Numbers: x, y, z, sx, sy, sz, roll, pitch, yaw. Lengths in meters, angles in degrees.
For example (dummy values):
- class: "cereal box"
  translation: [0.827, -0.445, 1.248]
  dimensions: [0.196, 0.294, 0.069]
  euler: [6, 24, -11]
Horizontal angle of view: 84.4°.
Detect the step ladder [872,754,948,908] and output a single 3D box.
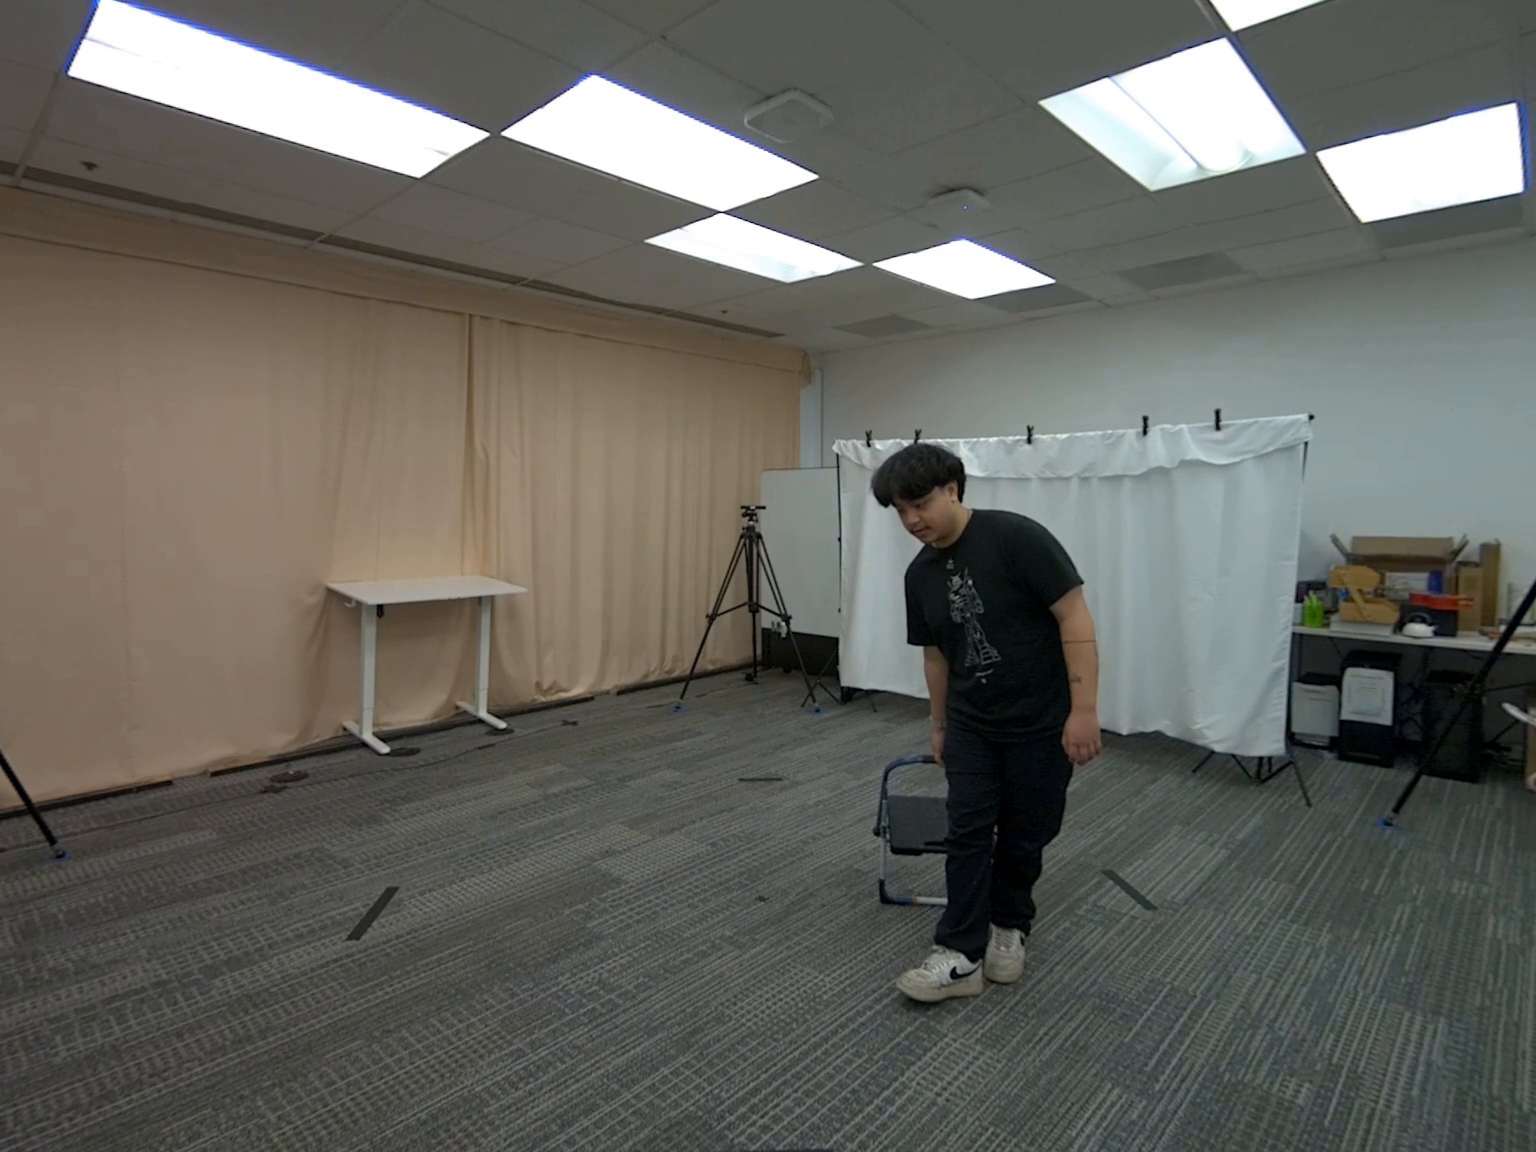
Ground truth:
- class: "step ladder"
  translation: [0.601, 0.813, 2.919]
  dimensions: [0.434, 0.595, 0.353]
  euler: [0, 30, 6]
